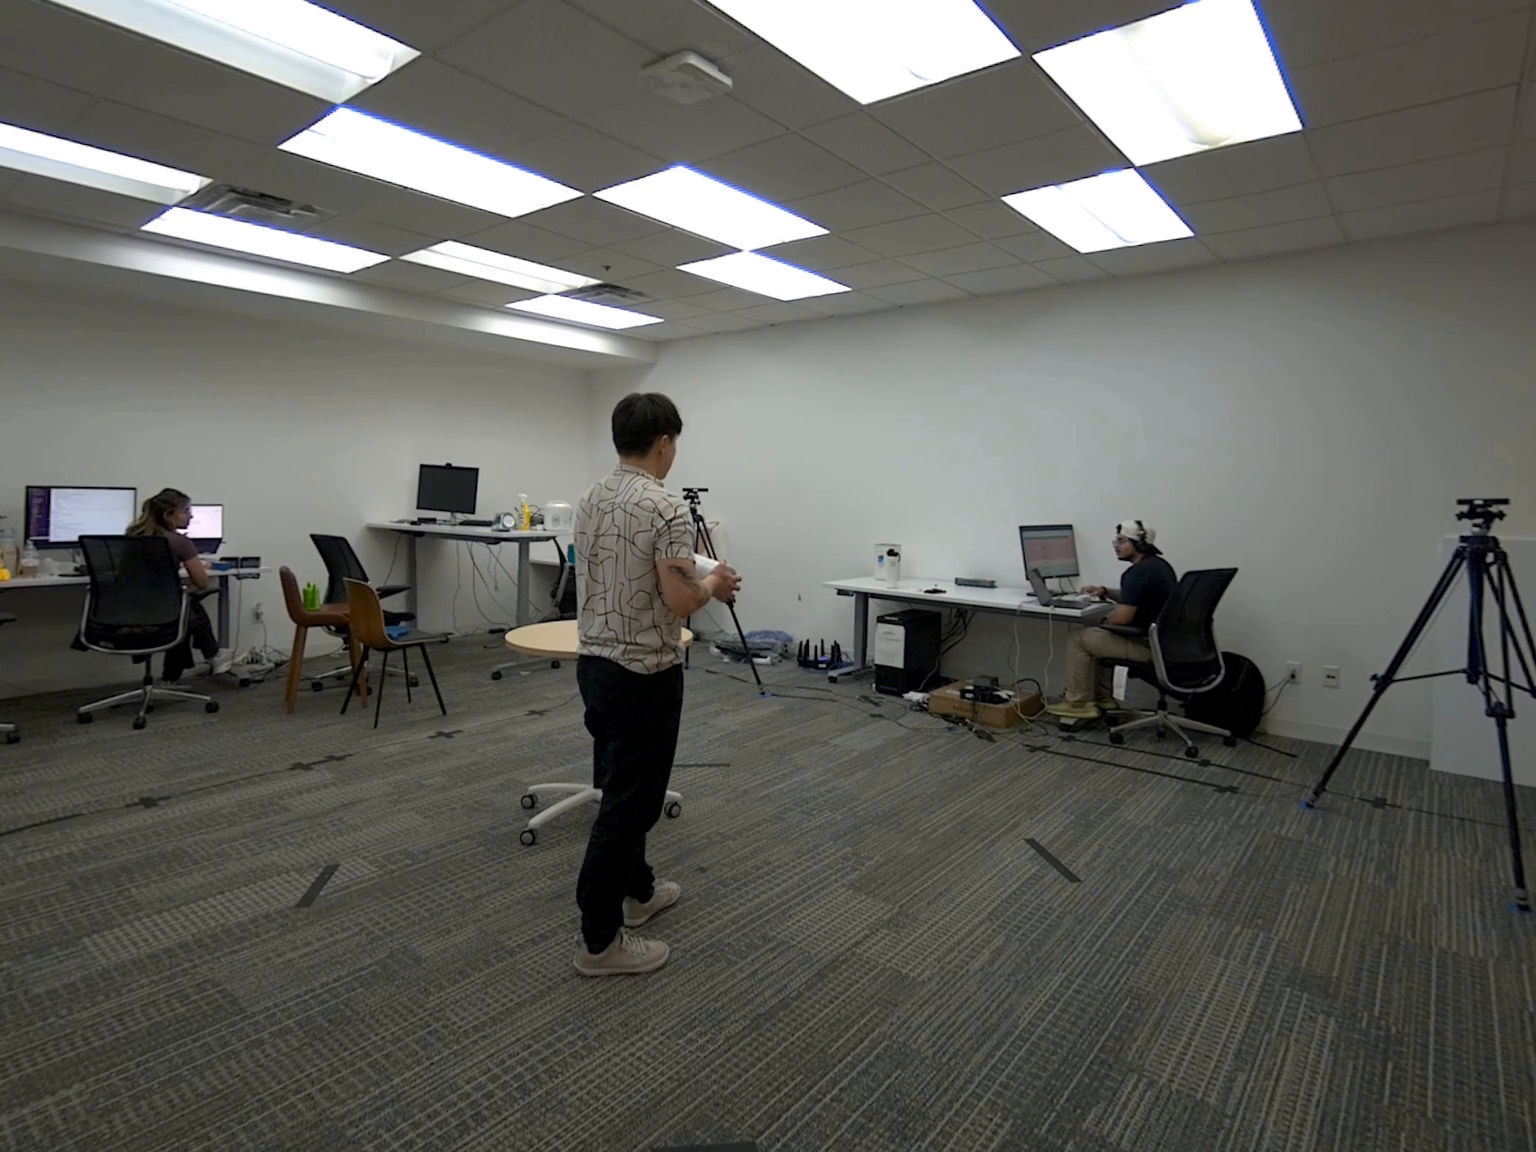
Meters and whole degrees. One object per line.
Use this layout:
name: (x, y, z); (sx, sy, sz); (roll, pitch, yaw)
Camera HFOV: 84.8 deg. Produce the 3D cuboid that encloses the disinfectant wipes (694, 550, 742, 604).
disinfectant wipes: (-0.209, -0.003, 2.693); (0.114, 0.117, 0.226); (-3, 14, -44)
